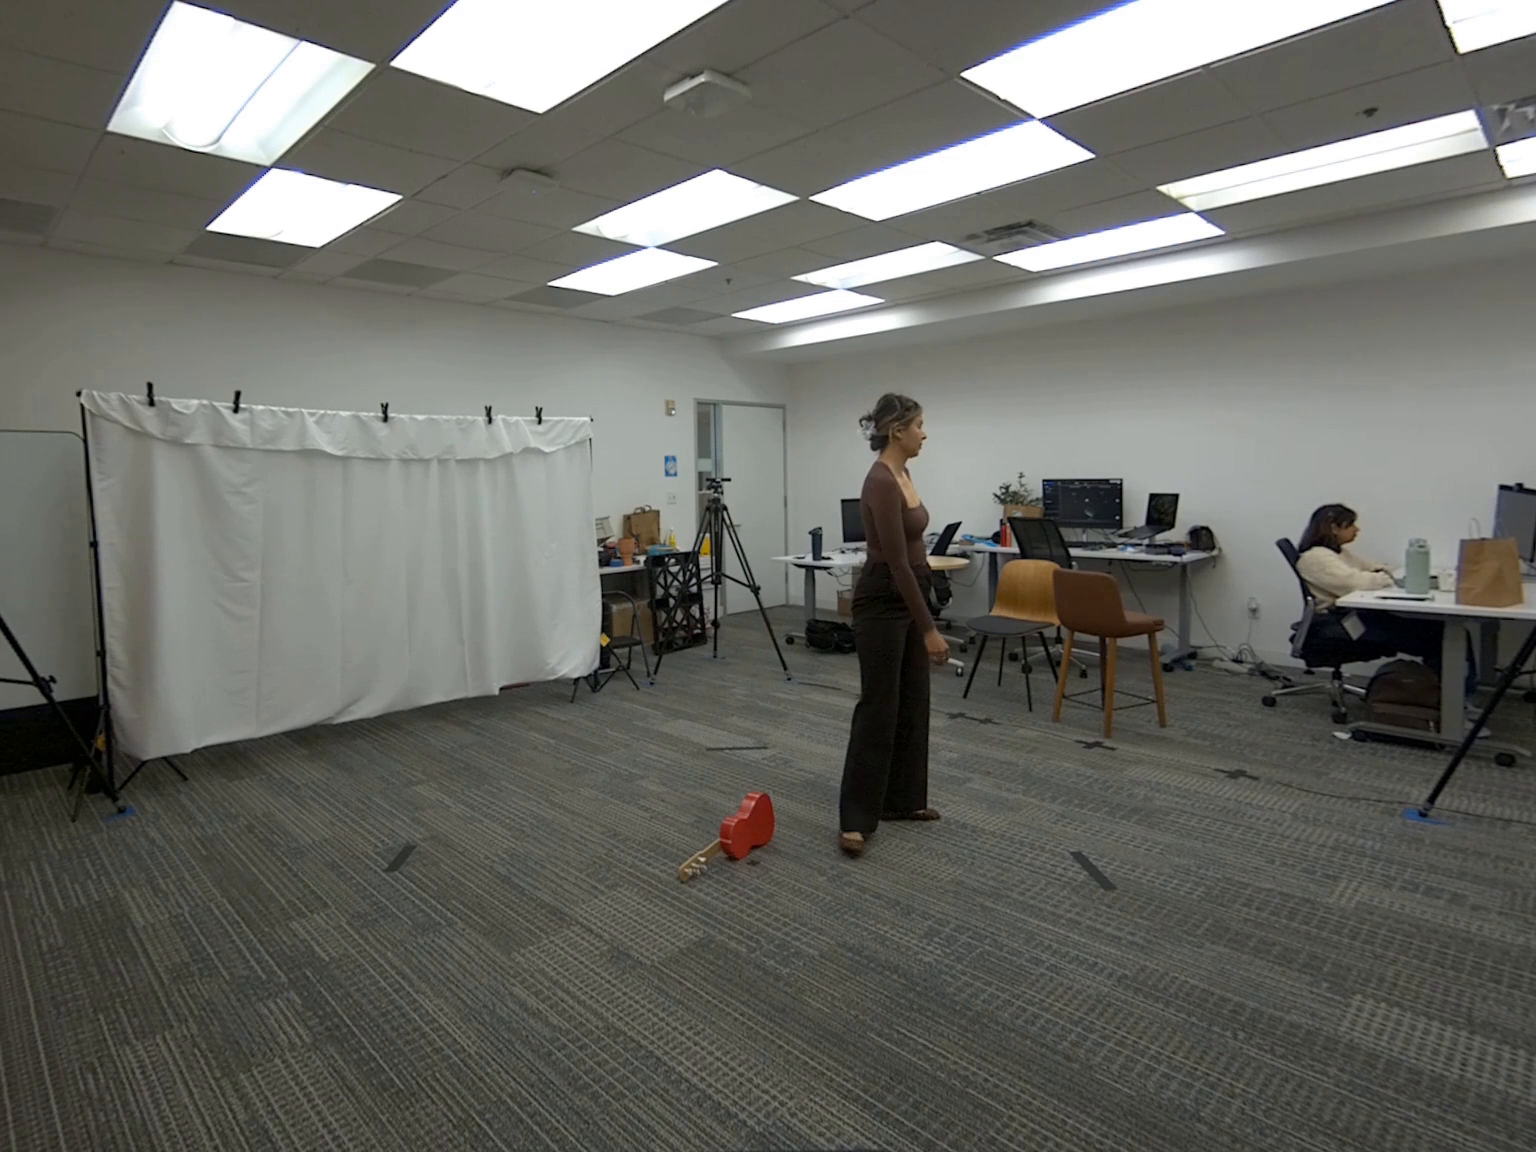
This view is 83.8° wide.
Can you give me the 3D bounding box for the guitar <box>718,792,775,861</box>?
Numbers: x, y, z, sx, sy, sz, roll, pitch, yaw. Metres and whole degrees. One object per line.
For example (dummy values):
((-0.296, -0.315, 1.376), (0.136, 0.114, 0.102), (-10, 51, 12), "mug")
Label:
((-0.136, 0.998, 3.138), (0.073, 0.189, 0.493), (0, 23, 37), "guitar")
